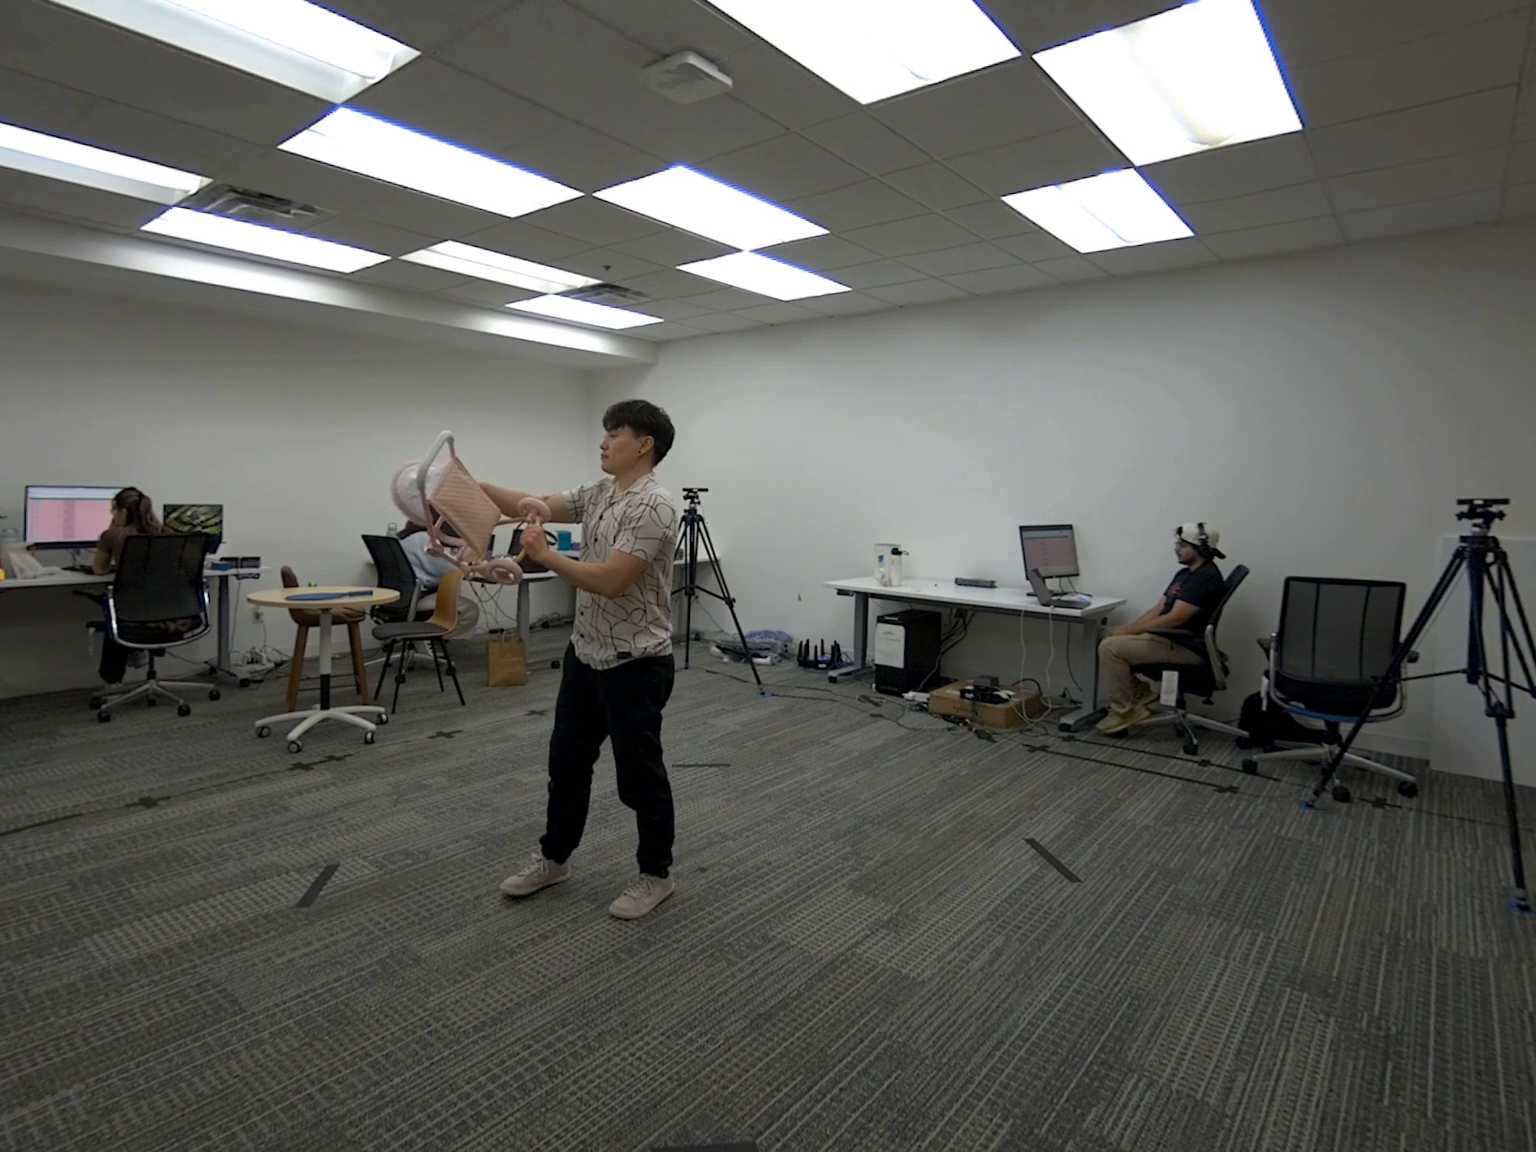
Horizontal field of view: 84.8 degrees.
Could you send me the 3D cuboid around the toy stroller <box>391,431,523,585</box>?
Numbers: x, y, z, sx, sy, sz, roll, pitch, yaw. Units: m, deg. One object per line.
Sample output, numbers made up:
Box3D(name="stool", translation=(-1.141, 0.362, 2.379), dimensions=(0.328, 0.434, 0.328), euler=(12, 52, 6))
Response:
Box3D(name="toy stroller", translation=(-0.943, -0.174, 2.580), dimensions=(0.349, 0.286, 0.514), euler=(-12, -44, 35))
